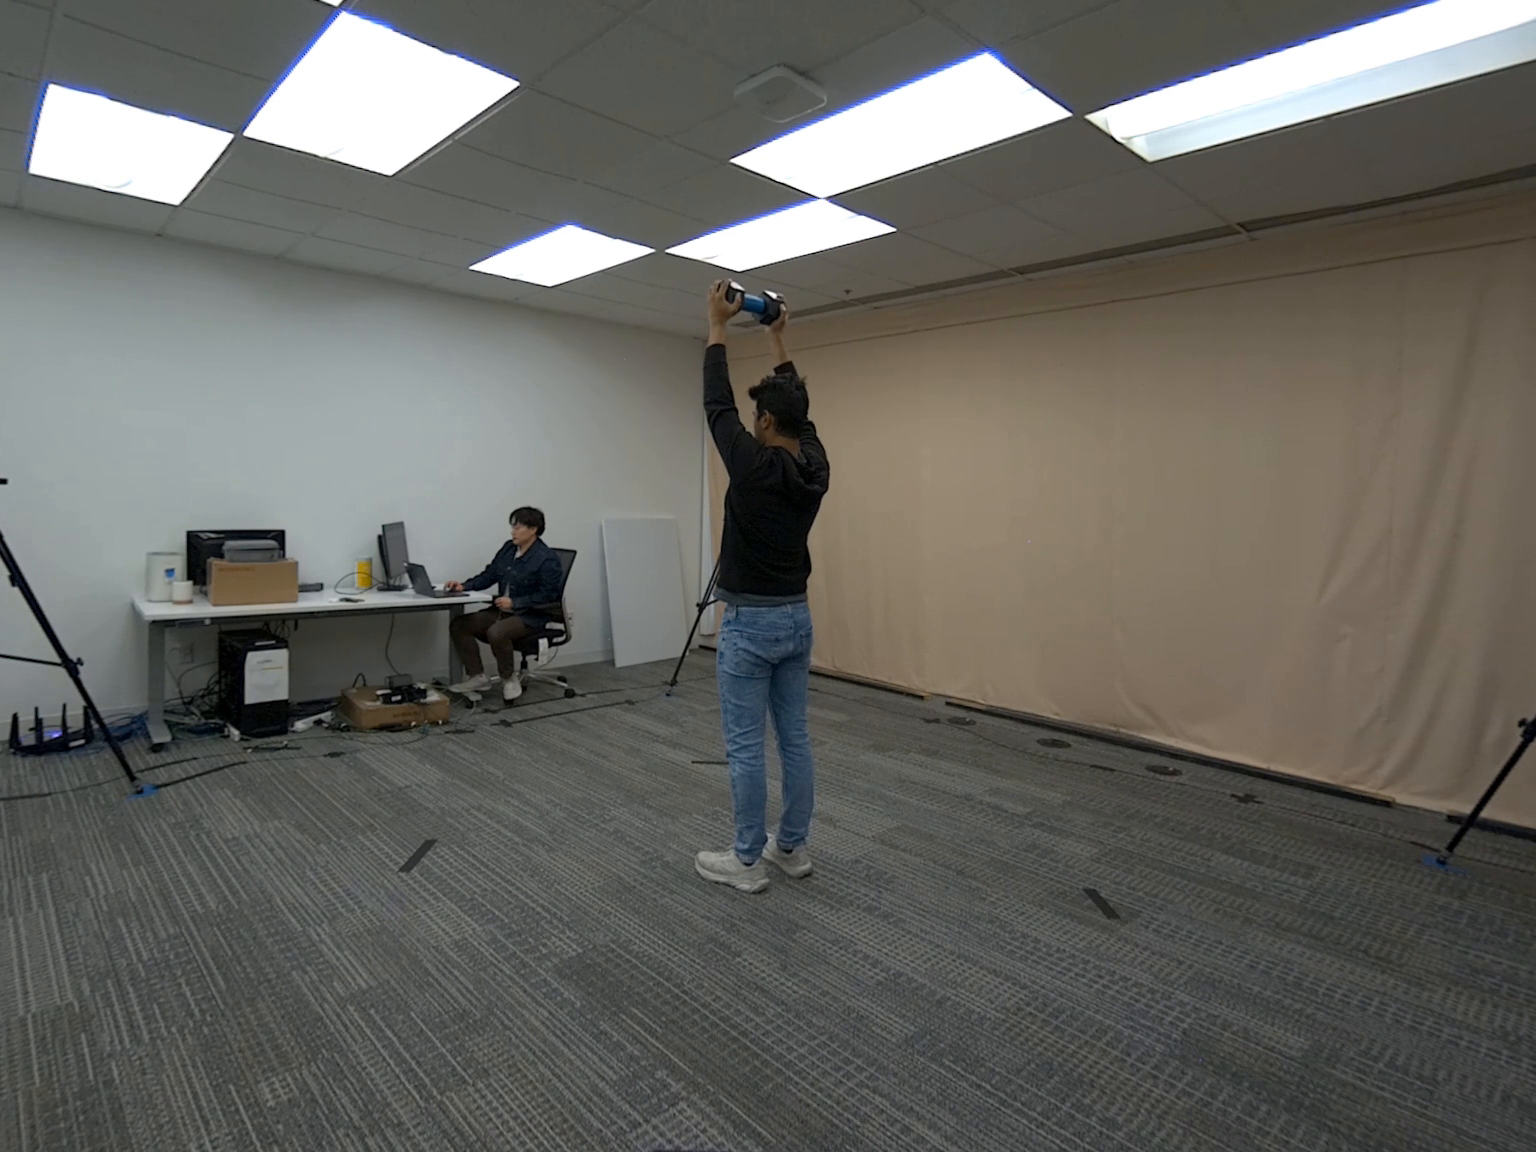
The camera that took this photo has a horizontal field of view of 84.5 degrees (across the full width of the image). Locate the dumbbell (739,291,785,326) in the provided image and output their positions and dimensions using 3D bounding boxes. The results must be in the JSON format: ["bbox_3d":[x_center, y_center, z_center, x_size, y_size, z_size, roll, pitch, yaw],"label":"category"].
[{"bbox_3d":[-0.080,-0.997,3.097,0.287,0.110,0.124,-4,-16,-45],"label":"dumbbell"}]
